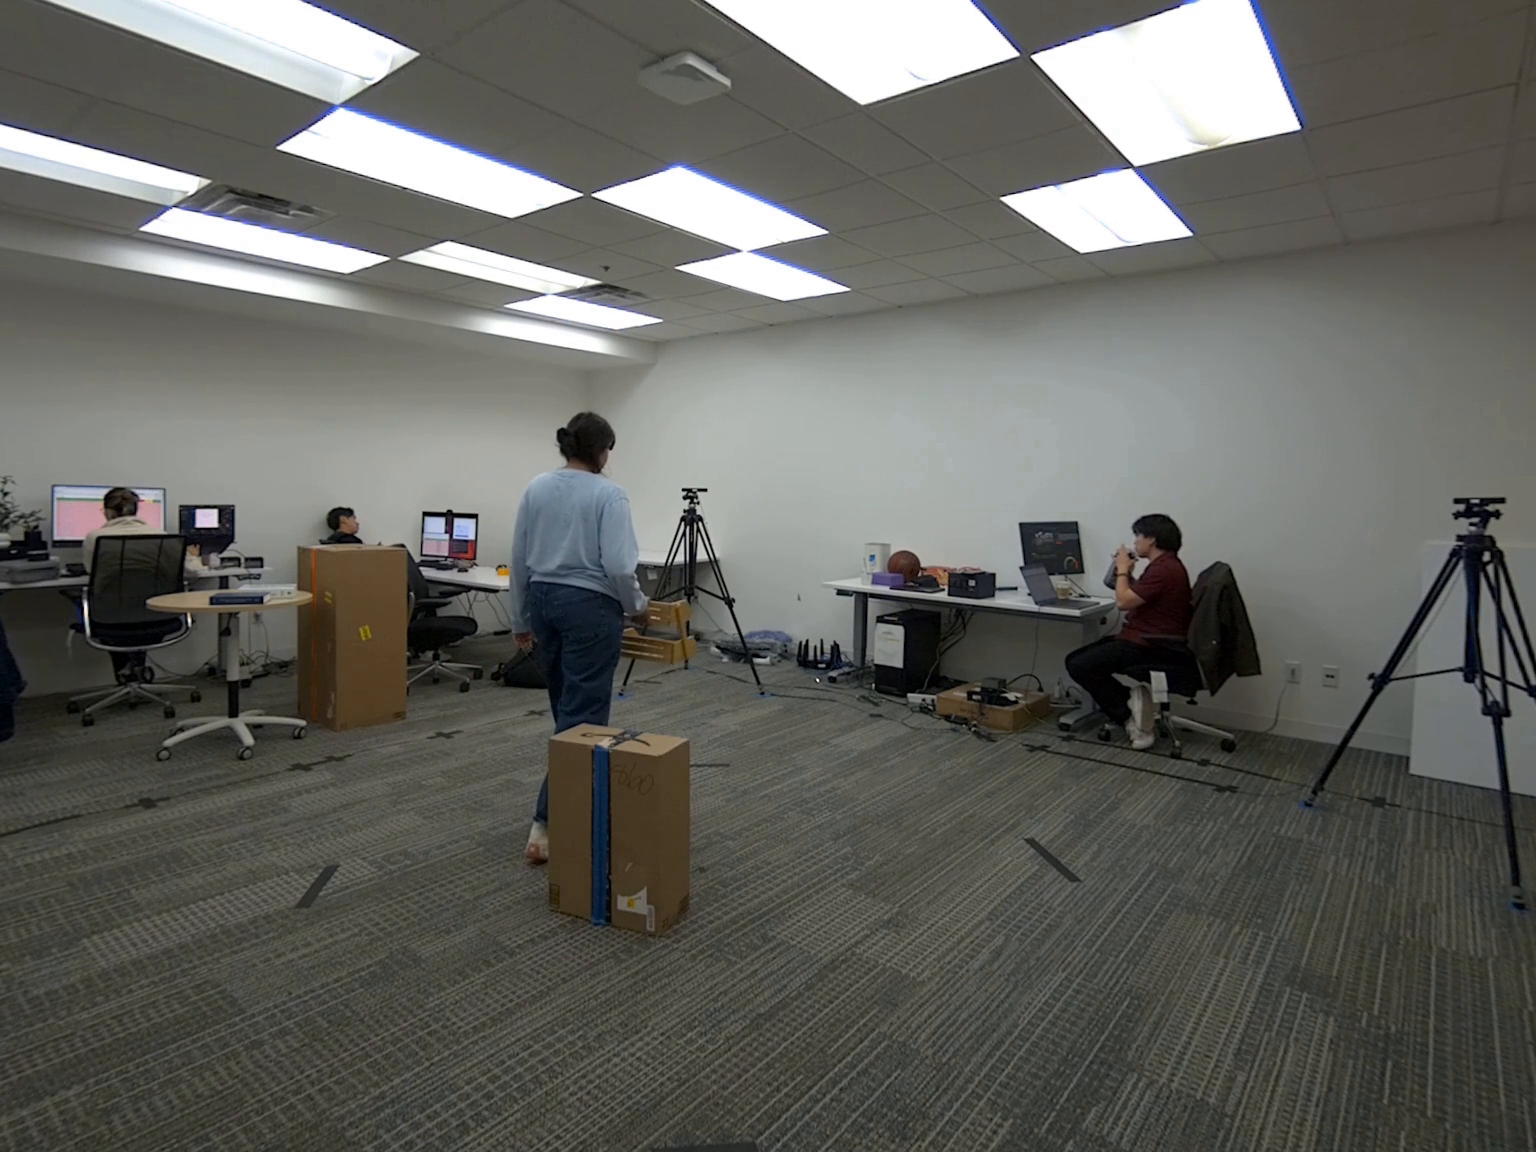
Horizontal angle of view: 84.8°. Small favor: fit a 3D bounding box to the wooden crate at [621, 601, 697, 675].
[{"bbox_3d":[-0.506,0.209,3.668,0.332,0.272,0.297,5,6,20],"label":"wooden crate"}]
